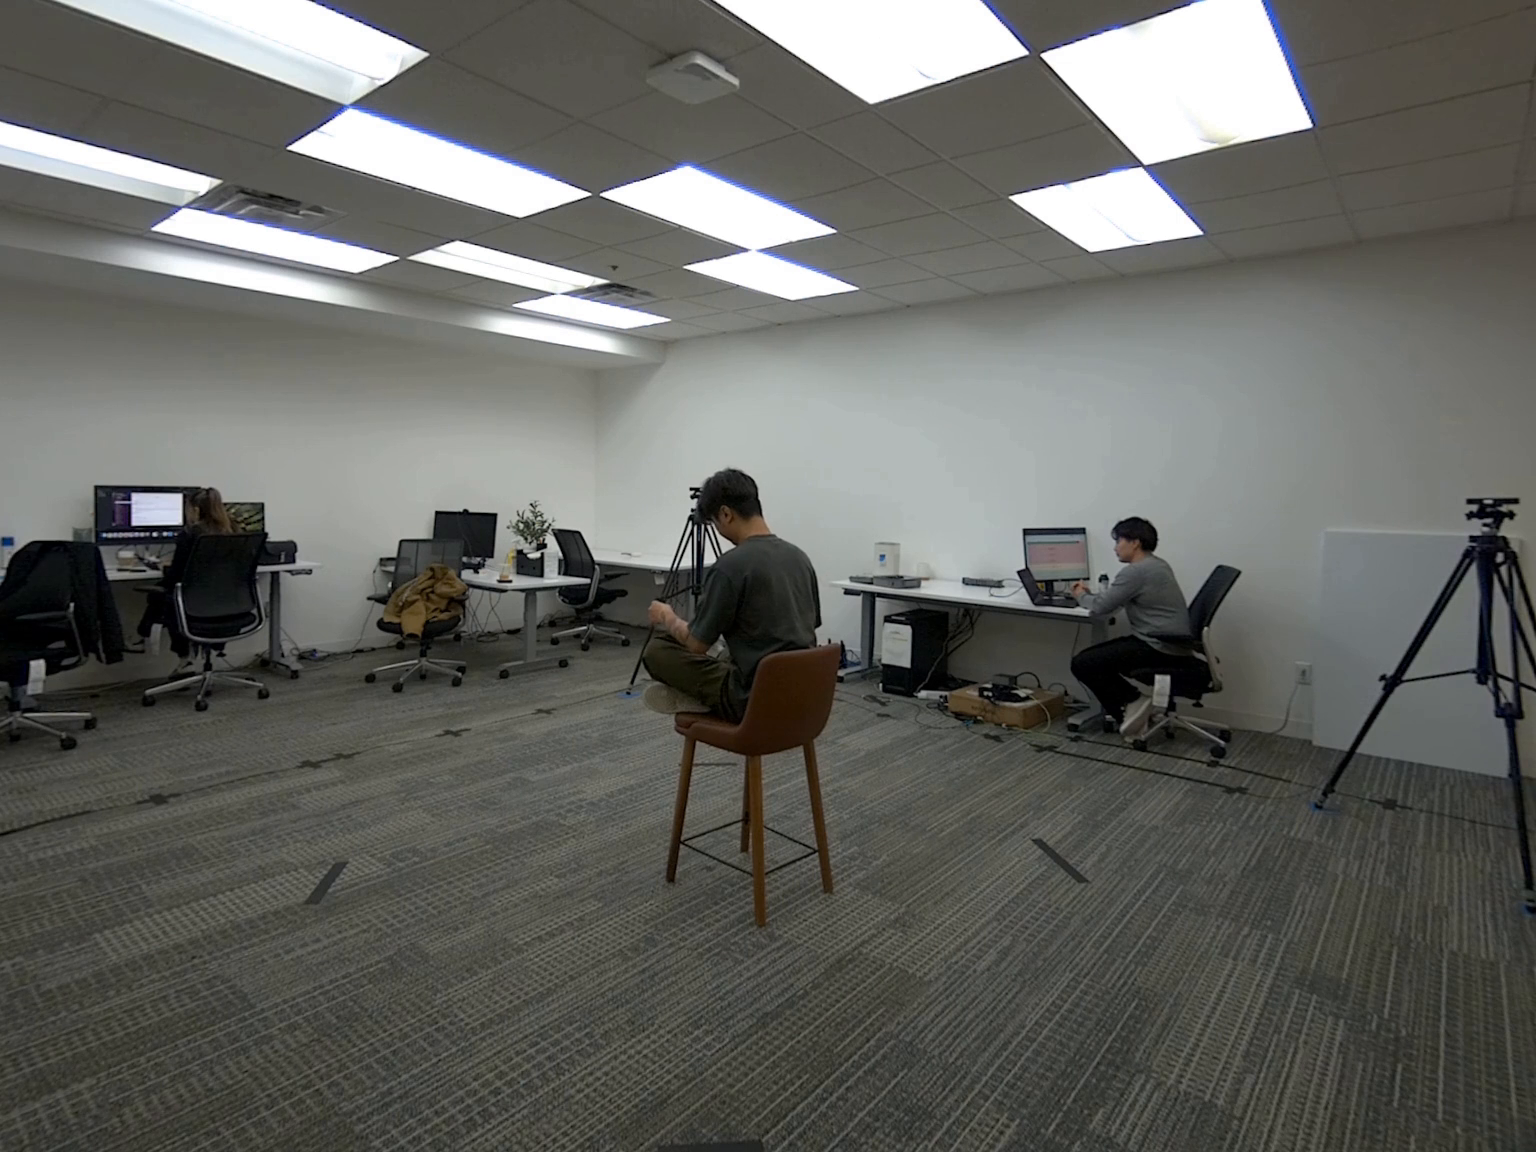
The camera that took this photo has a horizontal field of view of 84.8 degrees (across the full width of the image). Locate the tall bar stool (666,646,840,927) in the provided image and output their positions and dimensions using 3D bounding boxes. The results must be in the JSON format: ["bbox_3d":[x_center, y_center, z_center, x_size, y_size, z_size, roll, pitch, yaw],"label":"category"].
[{"bbox_3d":[-0.051,0.649,2.953,0.484,0.886,0.442,8,6,44],"label":"tall bar stool"}]
